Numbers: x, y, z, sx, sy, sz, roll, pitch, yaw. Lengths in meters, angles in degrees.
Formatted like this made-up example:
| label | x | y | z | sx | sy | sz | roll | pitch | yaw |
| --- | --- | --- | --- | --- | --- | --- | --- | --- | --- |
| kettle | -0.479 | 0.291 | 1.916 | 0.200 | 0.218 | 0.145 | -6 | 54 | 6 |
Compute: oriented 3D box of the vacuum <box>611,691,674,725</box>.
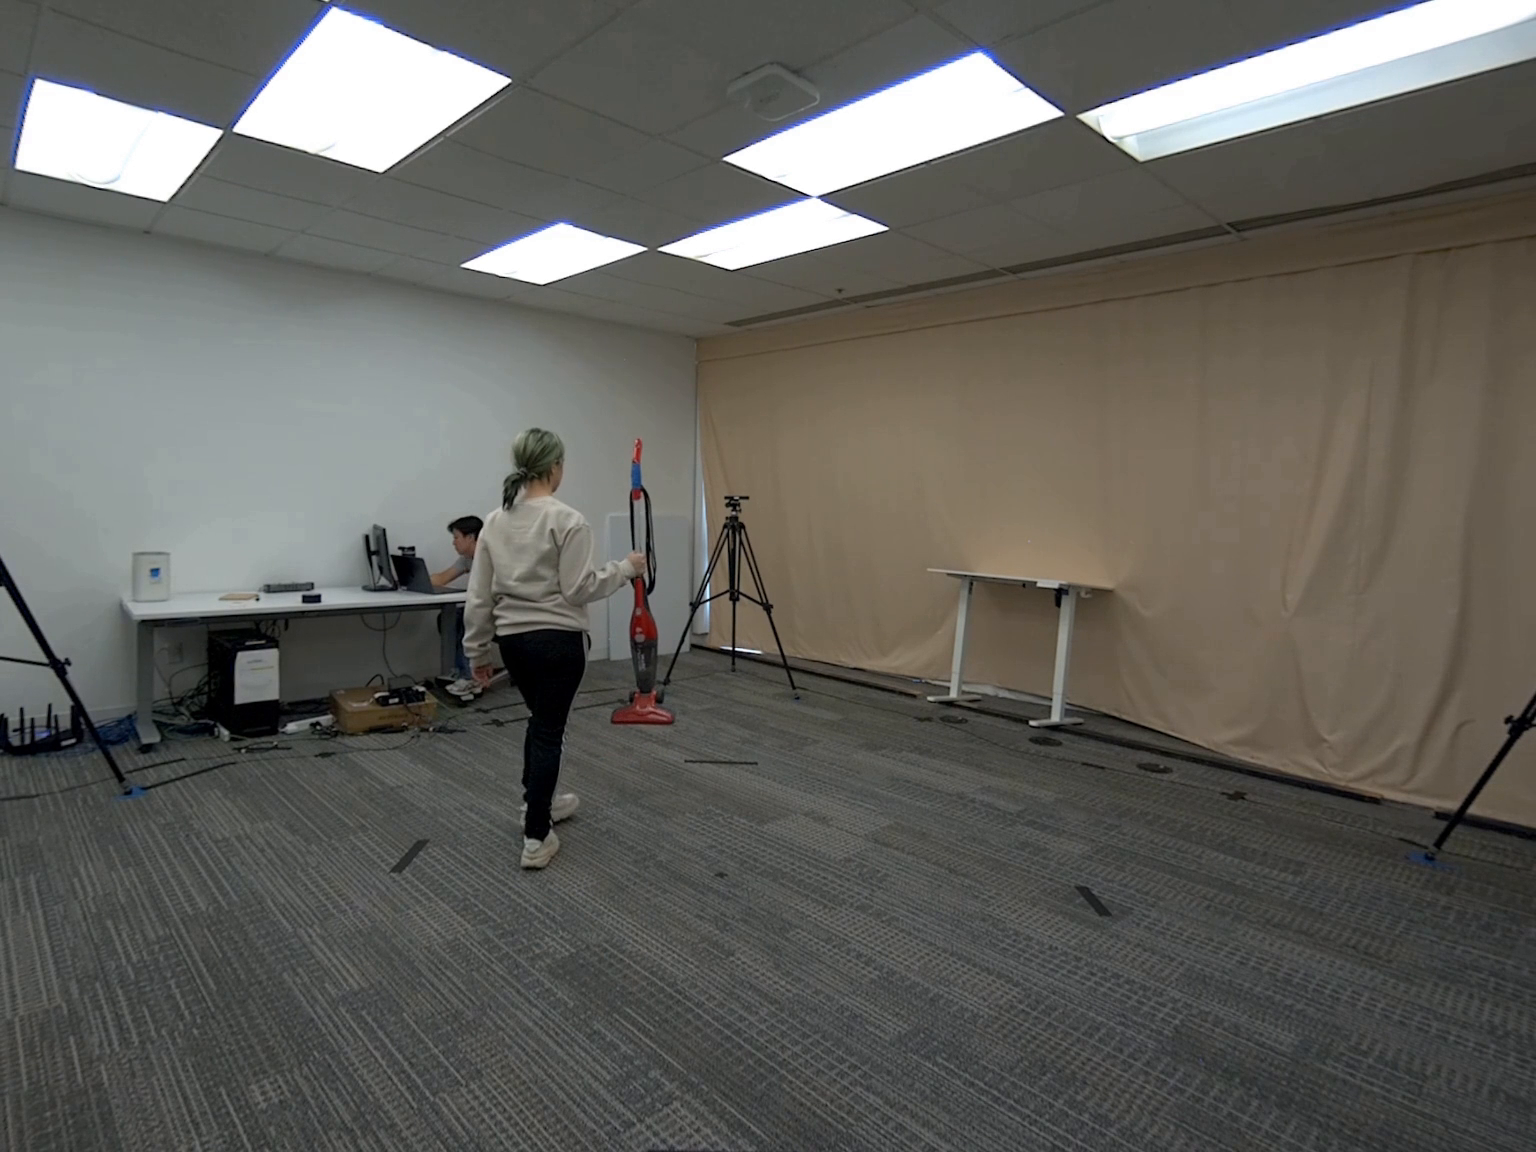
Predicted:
| label | x | y | z | sx | sy | sz | roll | pitch | yaw |
| --- | --- | --- | --- | --- | --- | --- | --- | --- | --- |
| vacuum | -0.501 | 0.011 | 3.296 | 0.254 | 1.046 | 0.143 | -1 | 4 | 7 |
